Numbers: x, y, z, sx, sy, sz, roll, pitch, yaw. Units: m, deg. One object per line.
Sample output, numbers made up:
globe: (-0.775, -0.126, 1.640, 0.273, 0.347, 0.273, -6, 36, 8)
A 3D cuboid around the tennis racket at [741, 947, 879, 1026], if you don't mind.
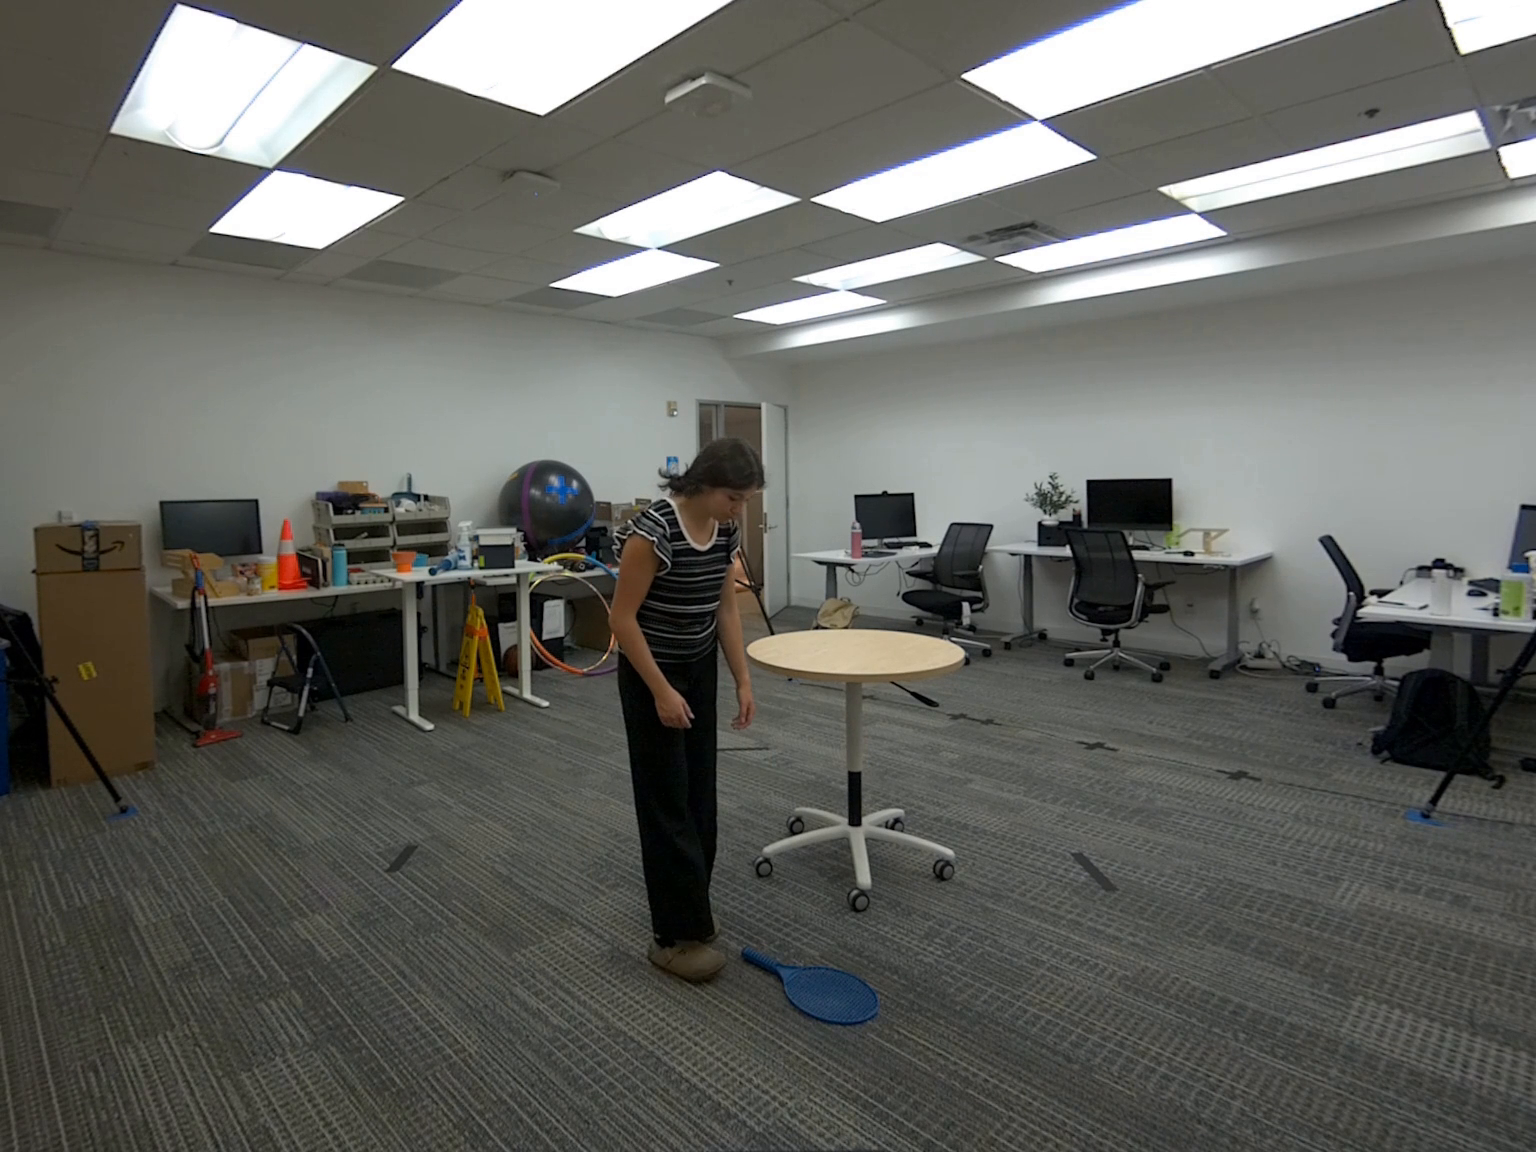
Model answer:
tennis racket: (0.106, 1.118, 2.349, 0.446, 0.031, 0.208, 6, 10, 37)
